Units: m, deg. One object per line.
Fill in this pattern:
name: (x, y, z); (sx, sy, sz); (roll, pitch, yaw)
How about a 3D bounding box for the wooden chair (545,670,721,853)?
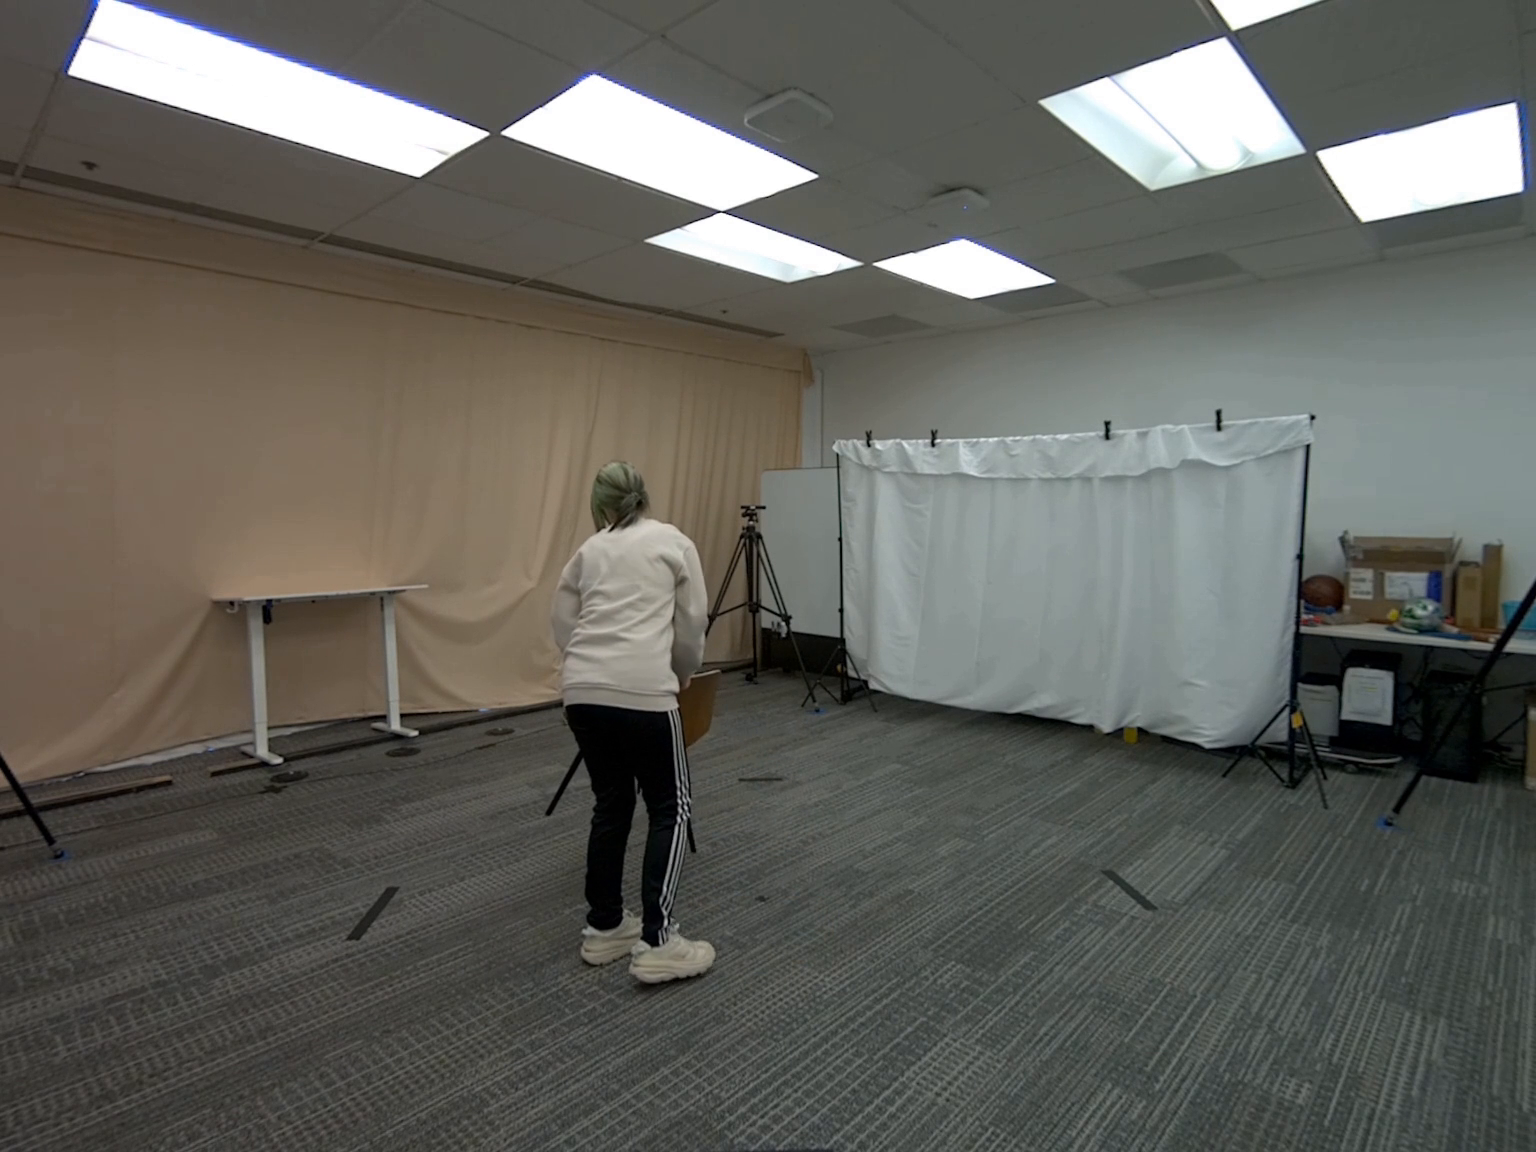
wooden chair: (-0.524, 0.648, 3.297); (0.464, 0.871, 0.543); (-4, 27, -39)
